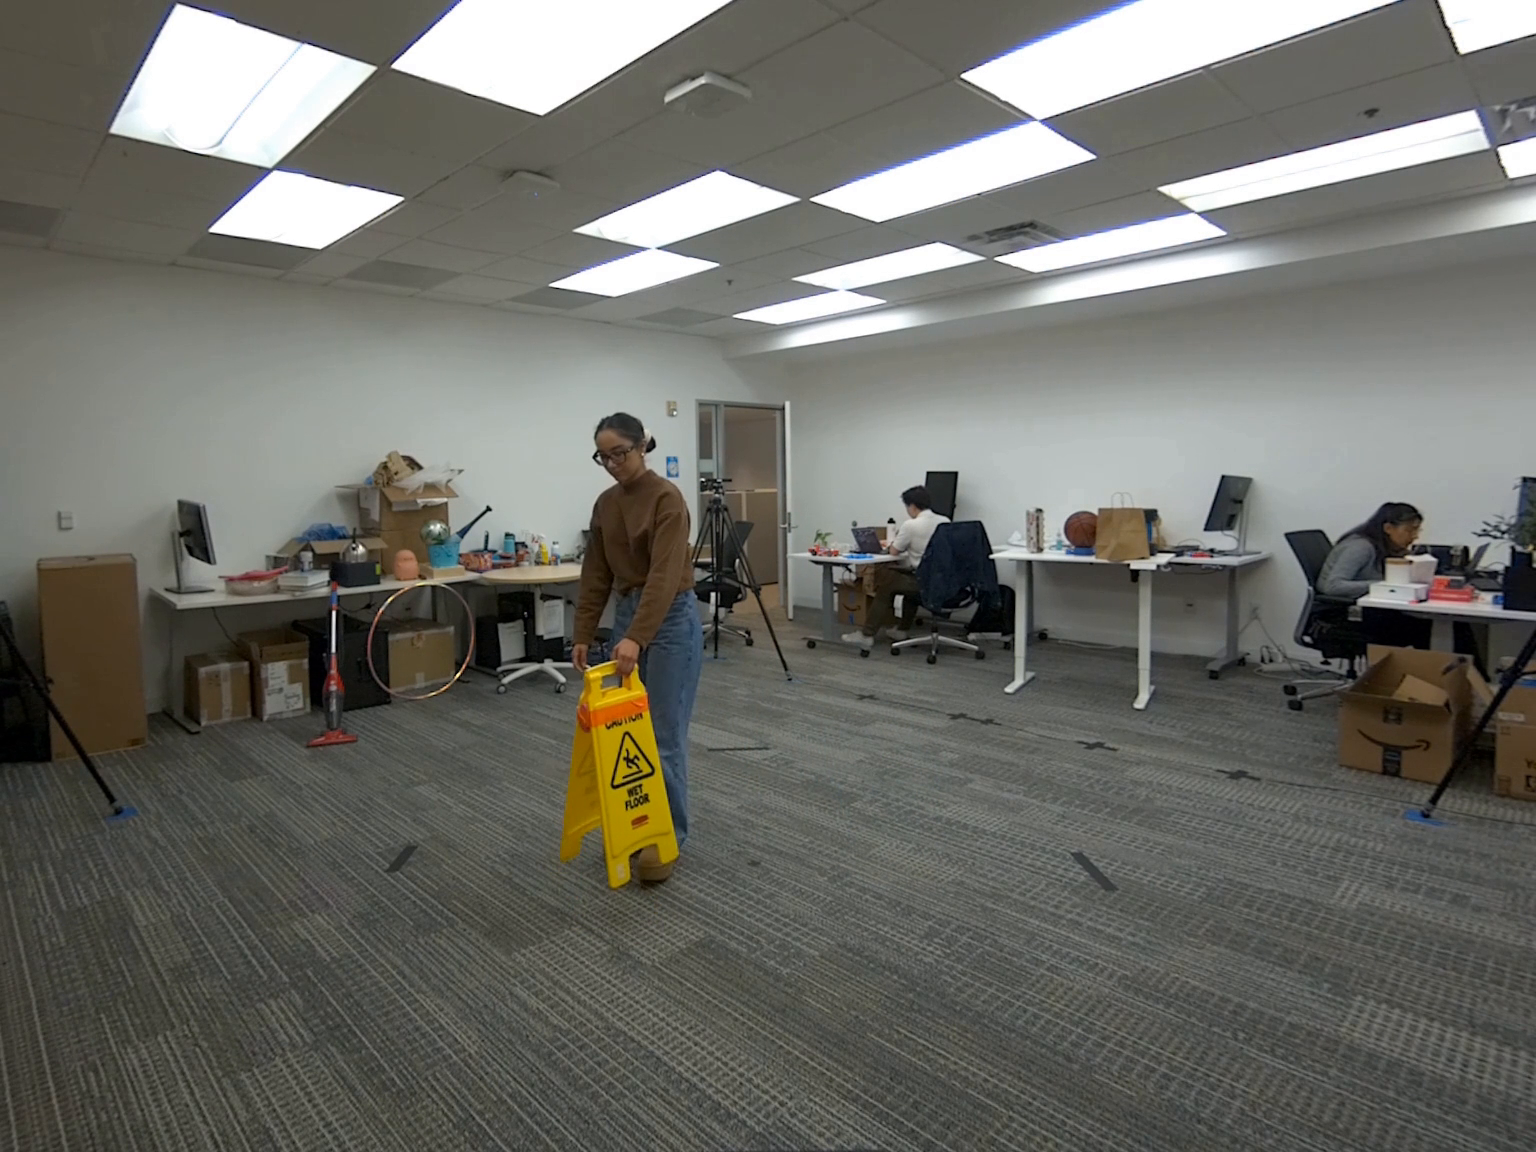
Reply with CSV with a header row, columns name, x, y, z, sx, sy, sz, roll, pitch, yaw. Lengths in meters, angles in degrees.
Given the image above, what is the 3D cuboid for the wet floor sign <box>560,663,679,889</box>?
name,x,y,z,sx,sy,sz,roll,pitch,yaw
wet floor sign,-0.496,0.603,2.740,0.298,0.643,0.275,2,7,41
